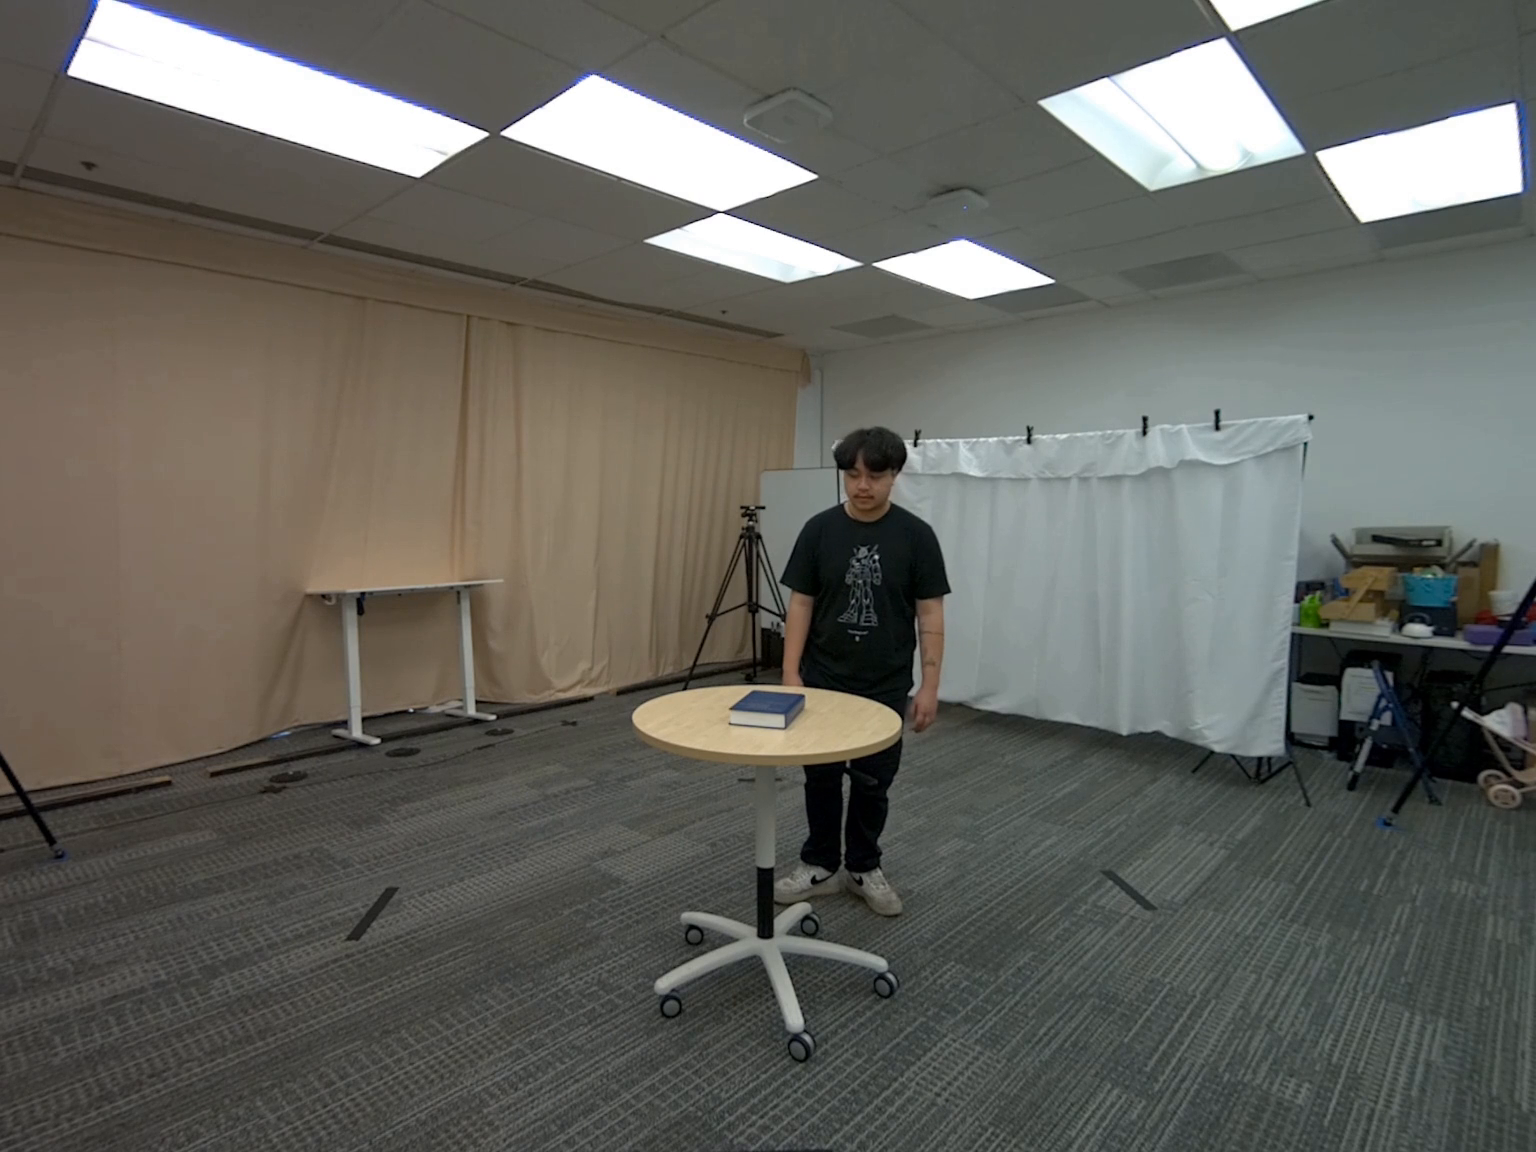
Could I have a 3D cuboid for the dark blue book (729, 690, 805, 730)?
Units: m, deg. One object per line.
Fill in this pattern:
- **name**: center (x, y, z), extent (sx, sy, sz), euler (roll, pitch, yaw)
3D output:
- **dark blue book**: center (0.004, 0.384, 2.384), extent (0.166, 0.045, 0.241), euler (1, 5, 16)
